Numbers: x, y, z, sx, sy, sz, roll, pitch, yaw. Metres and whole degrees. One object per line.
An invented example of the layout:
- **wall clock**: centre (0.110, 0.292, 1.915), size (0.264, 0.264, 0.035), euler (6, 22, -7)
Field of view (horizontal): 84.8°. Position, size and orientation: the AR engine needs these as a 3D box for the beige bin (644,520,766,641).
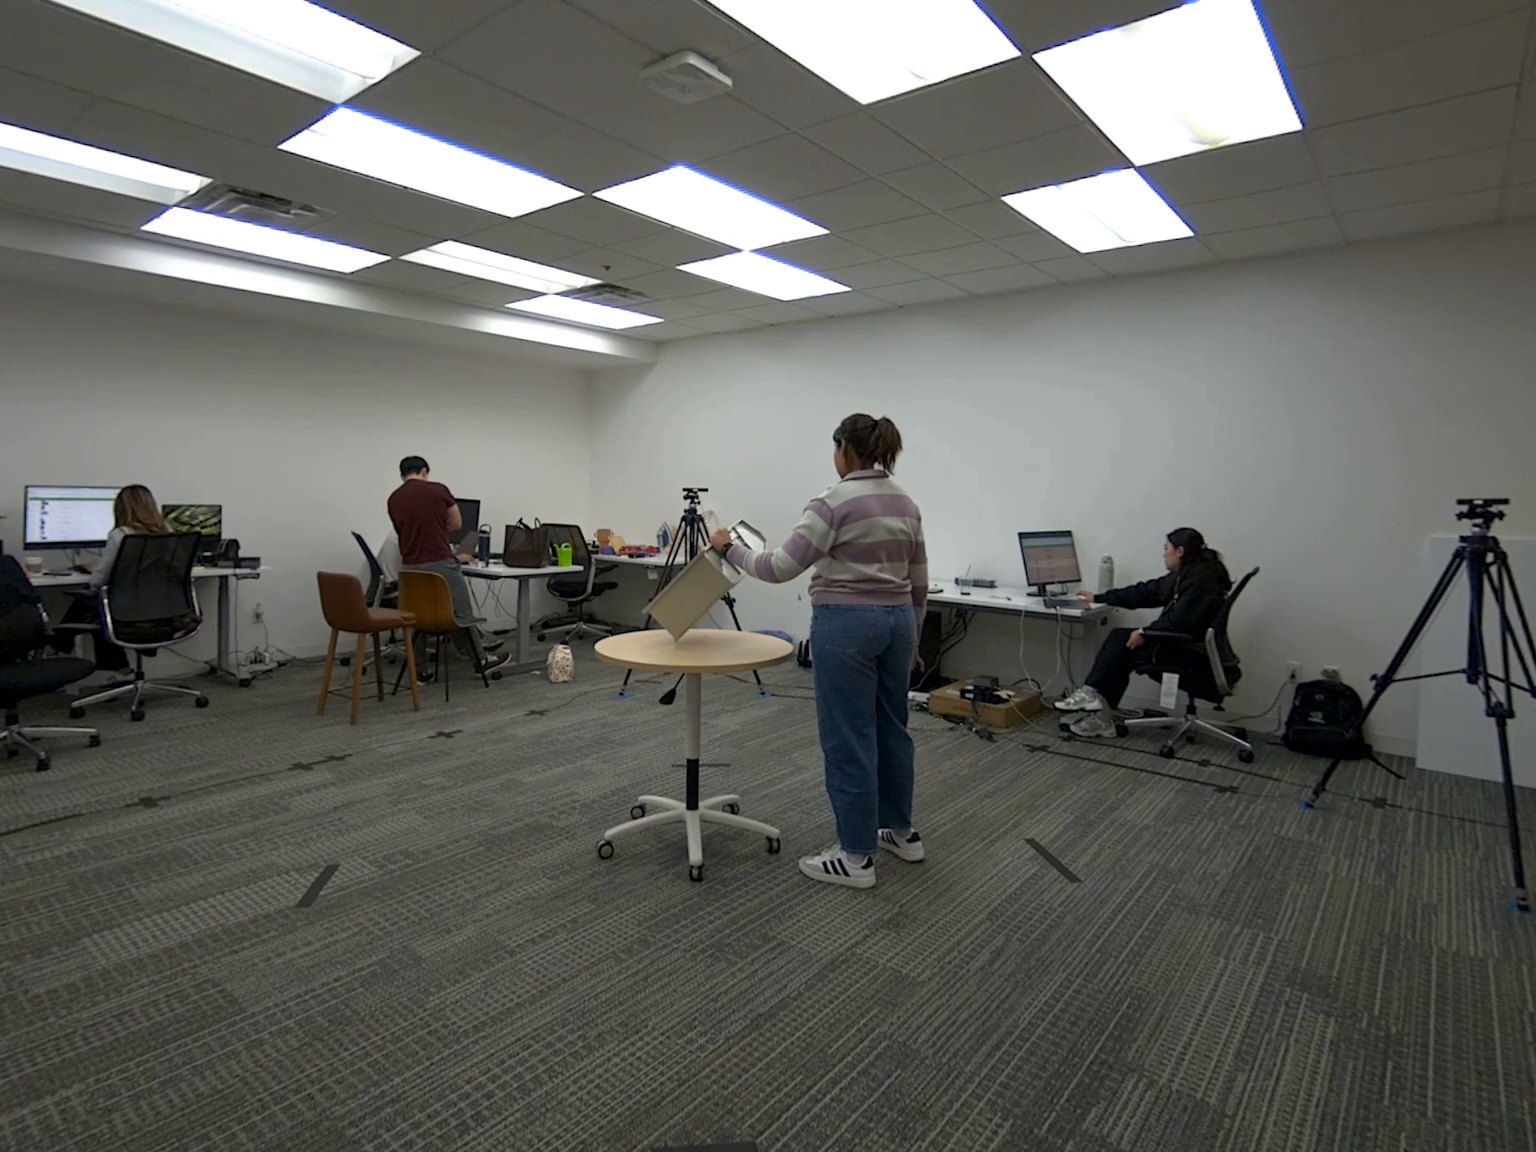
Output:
- **beige bin**: centre (-0.241, 0.010, 3.358), size (0.423, 0.189, 0.377), euler (-42, 3, 34)
